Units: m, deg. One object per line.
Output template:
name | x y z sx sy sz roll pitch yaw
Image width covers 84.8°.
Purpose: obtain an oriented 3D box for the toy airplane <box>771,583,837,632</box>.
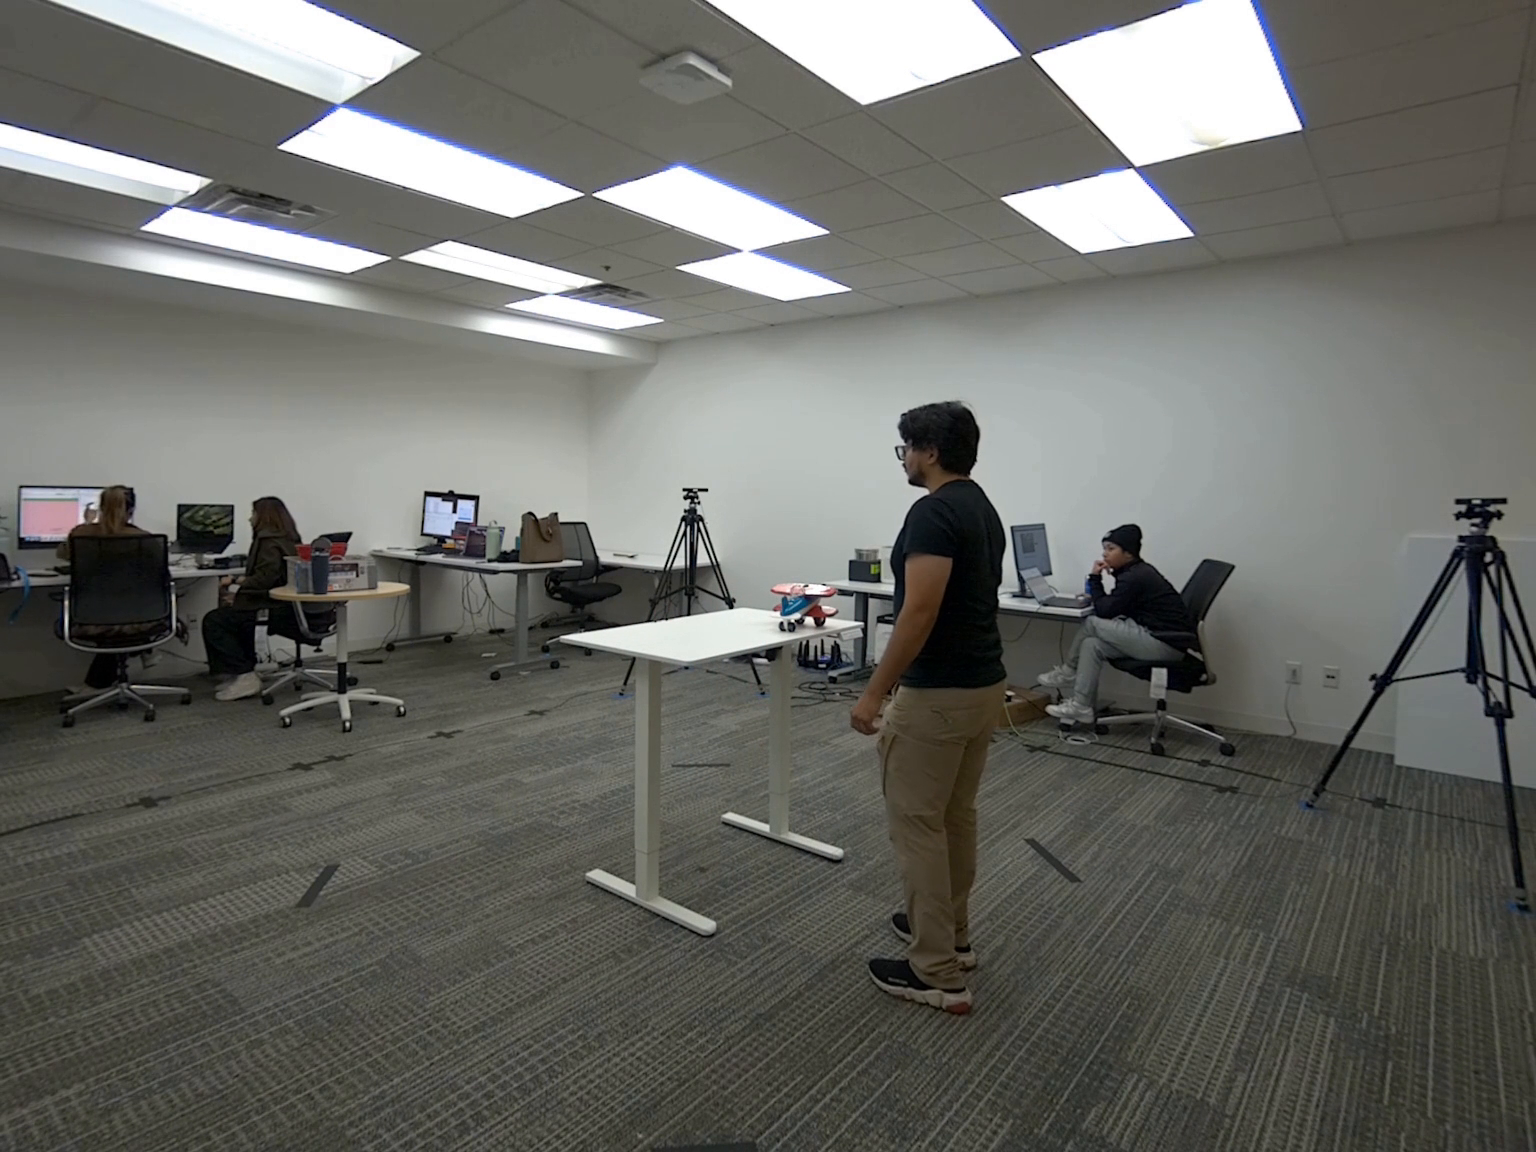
toy airplane | 0.122 0.112 3.112 0.252 0.156 0.259 0 4 4
